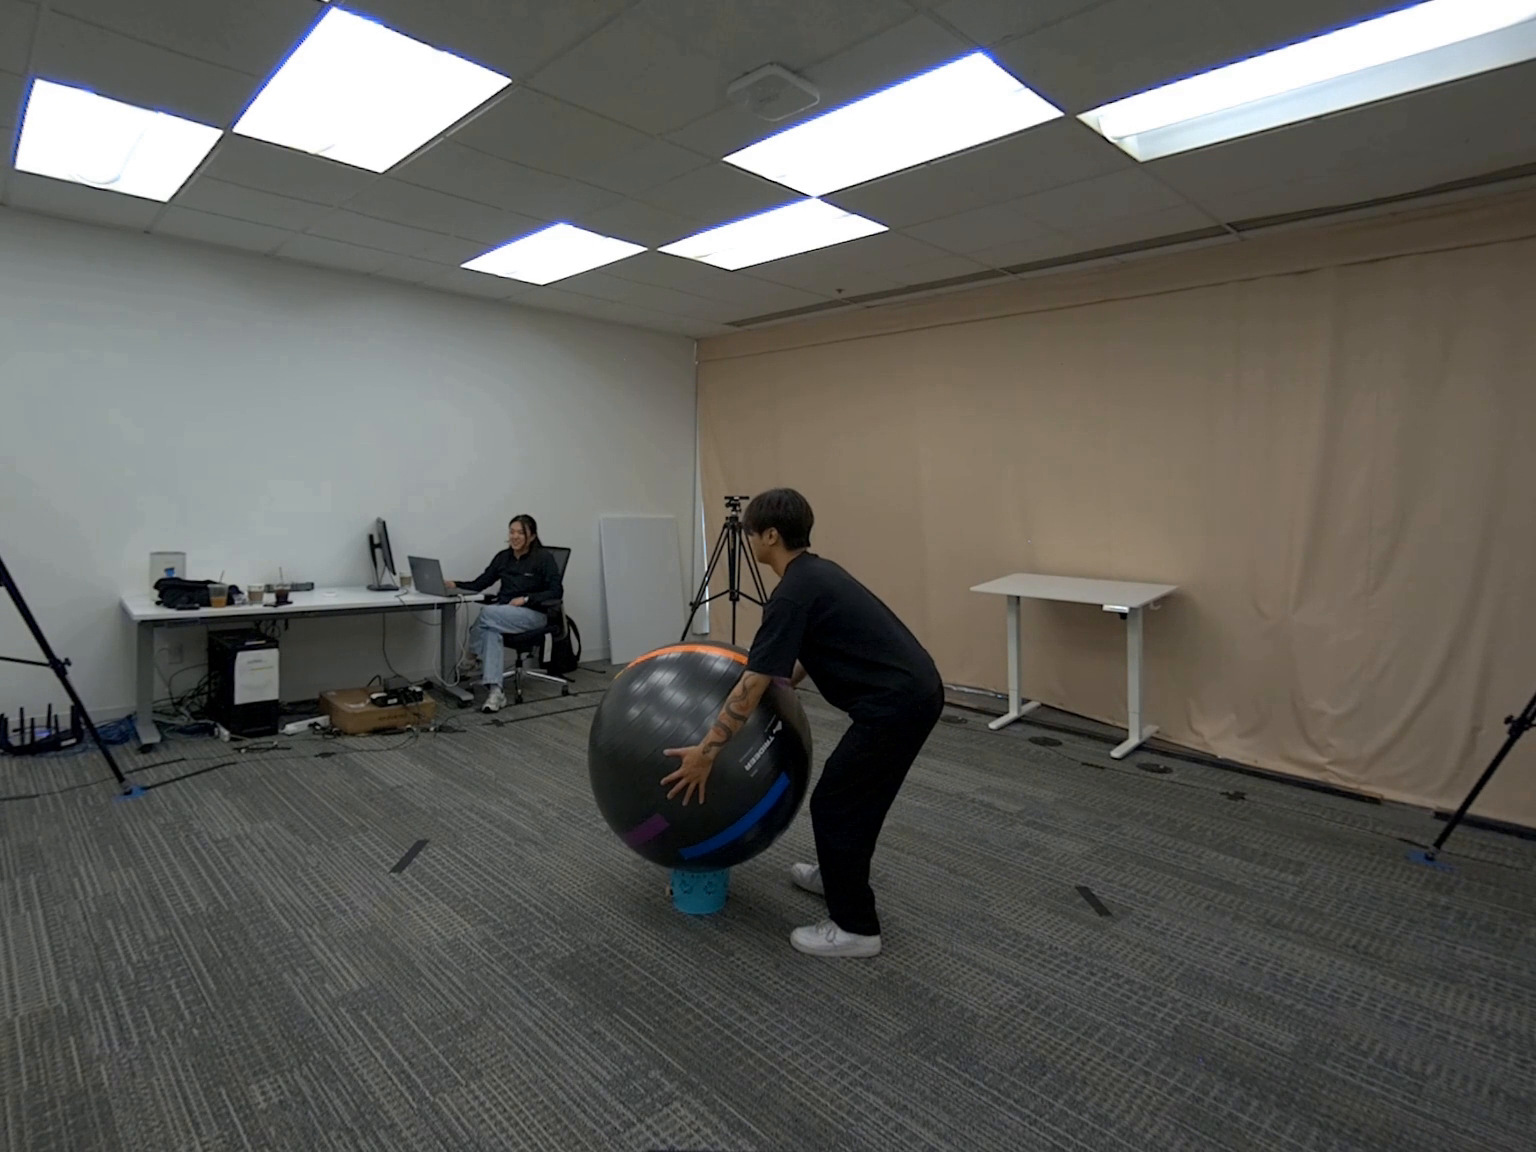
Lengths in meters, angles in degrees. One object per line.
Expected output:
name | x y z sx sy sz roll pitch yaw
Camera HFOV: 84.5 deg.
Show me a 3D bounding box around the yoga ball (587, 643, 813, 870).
yoga ball | -0.234 0.605 2.858 0.757 0.756 0.761 1 4 -1
